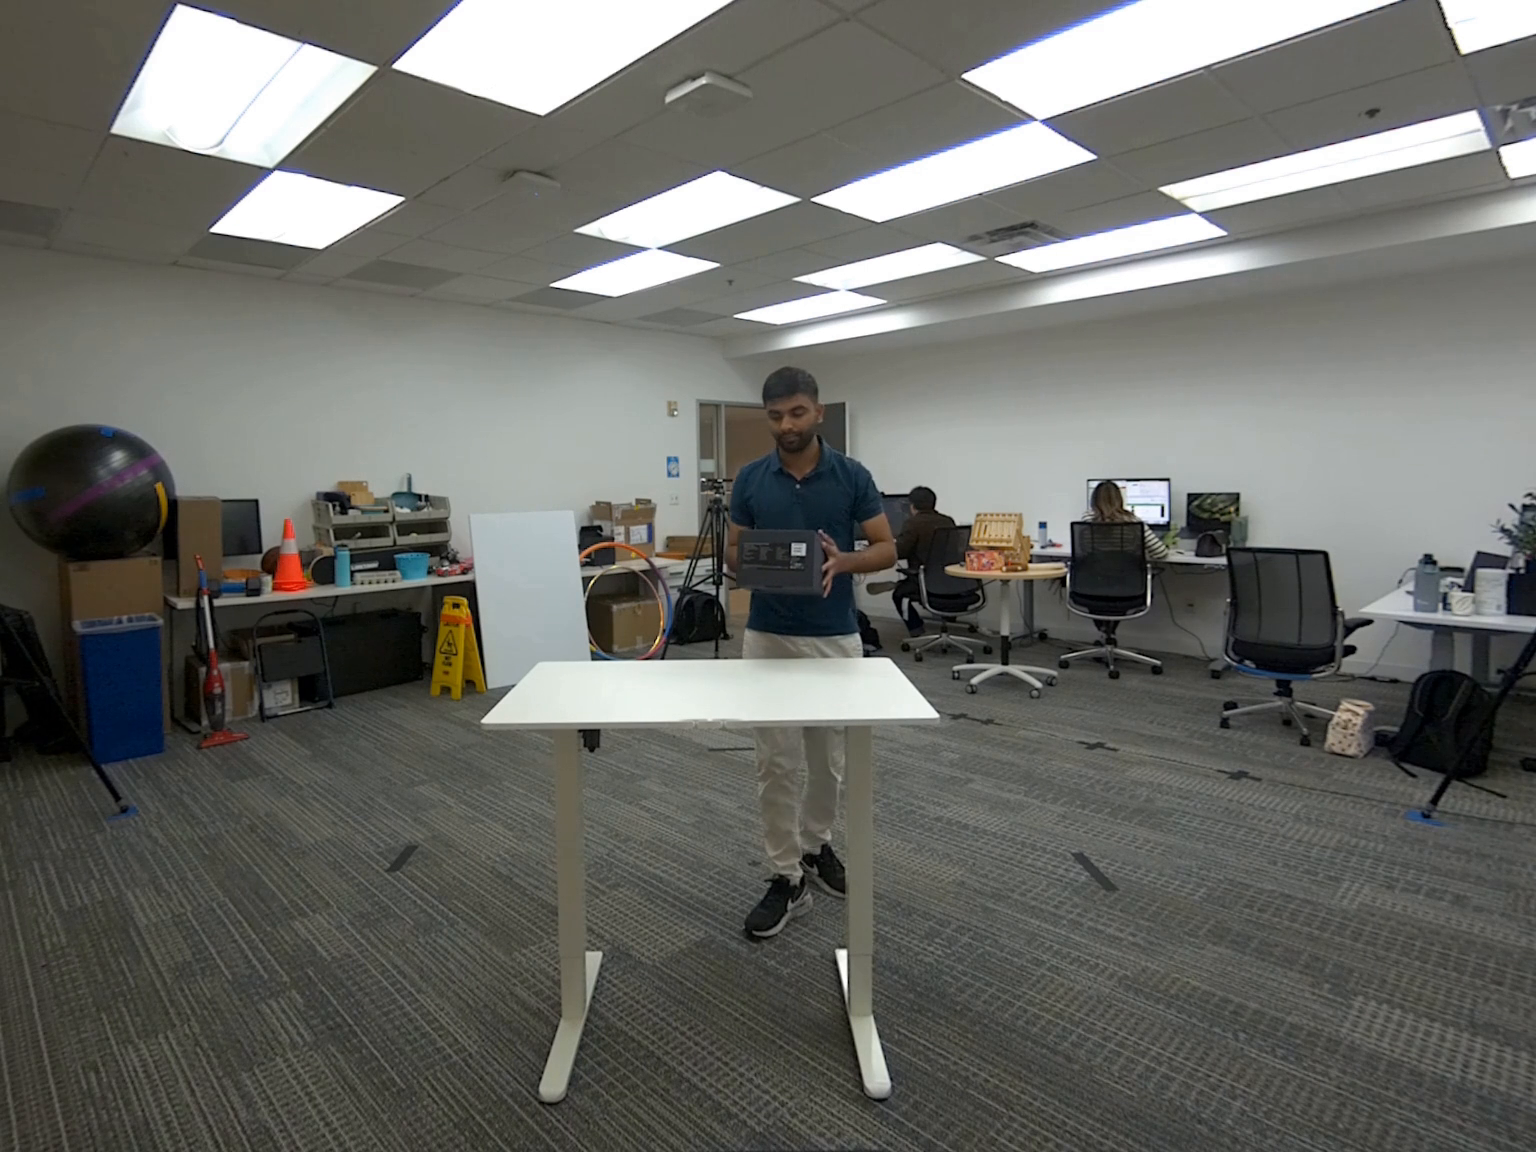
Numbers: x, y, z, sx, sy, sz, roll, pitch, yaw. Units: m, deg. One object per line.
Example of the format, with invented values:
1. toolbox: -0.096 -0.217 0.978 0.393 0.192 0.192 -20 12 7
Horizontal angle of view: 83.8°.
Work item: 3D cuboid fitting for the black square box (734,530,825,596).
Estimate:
1. black square box: 0.036 -0.040 2.429 0.220 0.156 0.223 2 -4 15
